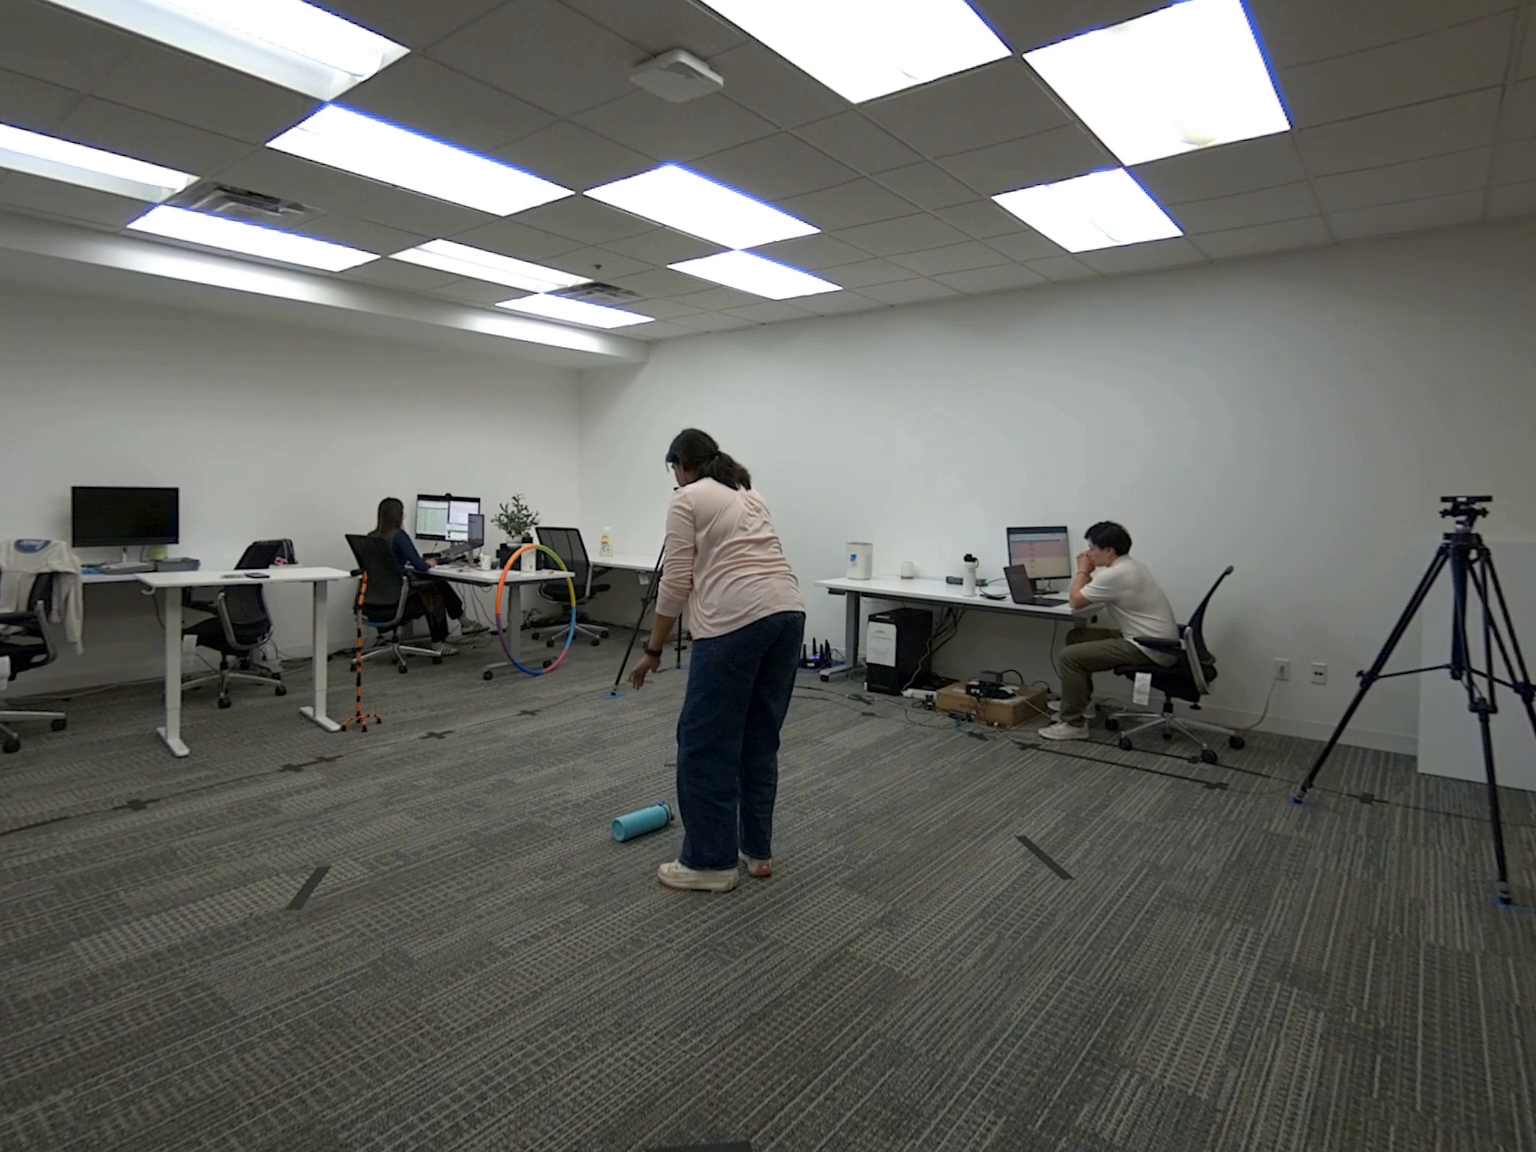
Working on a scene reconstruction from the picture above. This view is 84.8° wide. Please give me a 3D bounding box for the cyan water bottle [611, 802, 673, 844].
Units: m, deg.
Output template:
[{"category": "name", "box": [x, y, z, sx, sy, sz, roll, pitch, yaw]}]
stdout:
[{"category": "cyan water bottle", "box": [-0.509, 0.982, 3.431, 0.095, 0.092, 0.275, 5, 7, 43]}]
